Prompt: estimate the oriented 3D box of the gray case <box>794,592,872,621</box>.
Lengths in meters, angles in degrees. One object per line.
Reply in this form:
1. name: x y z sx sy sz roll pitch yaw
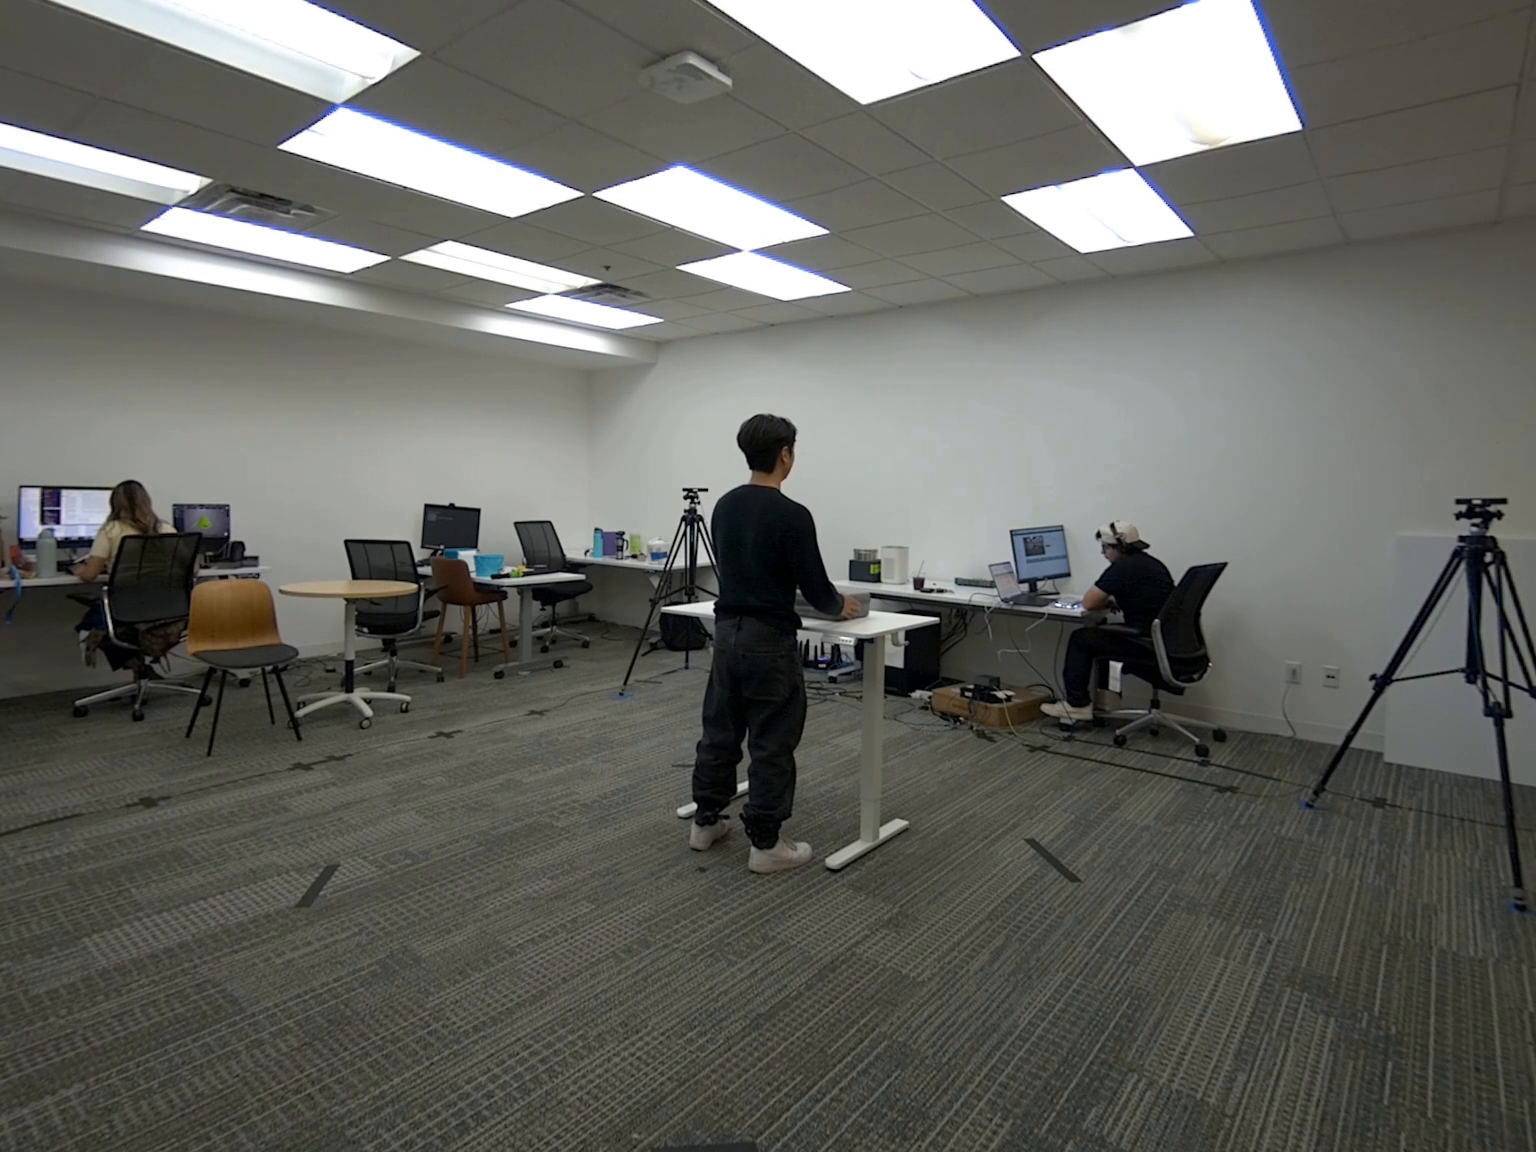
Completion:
1. gray case: 0.247 0.108 3.471 0.253 0.104 0.266 -3 7 -44
